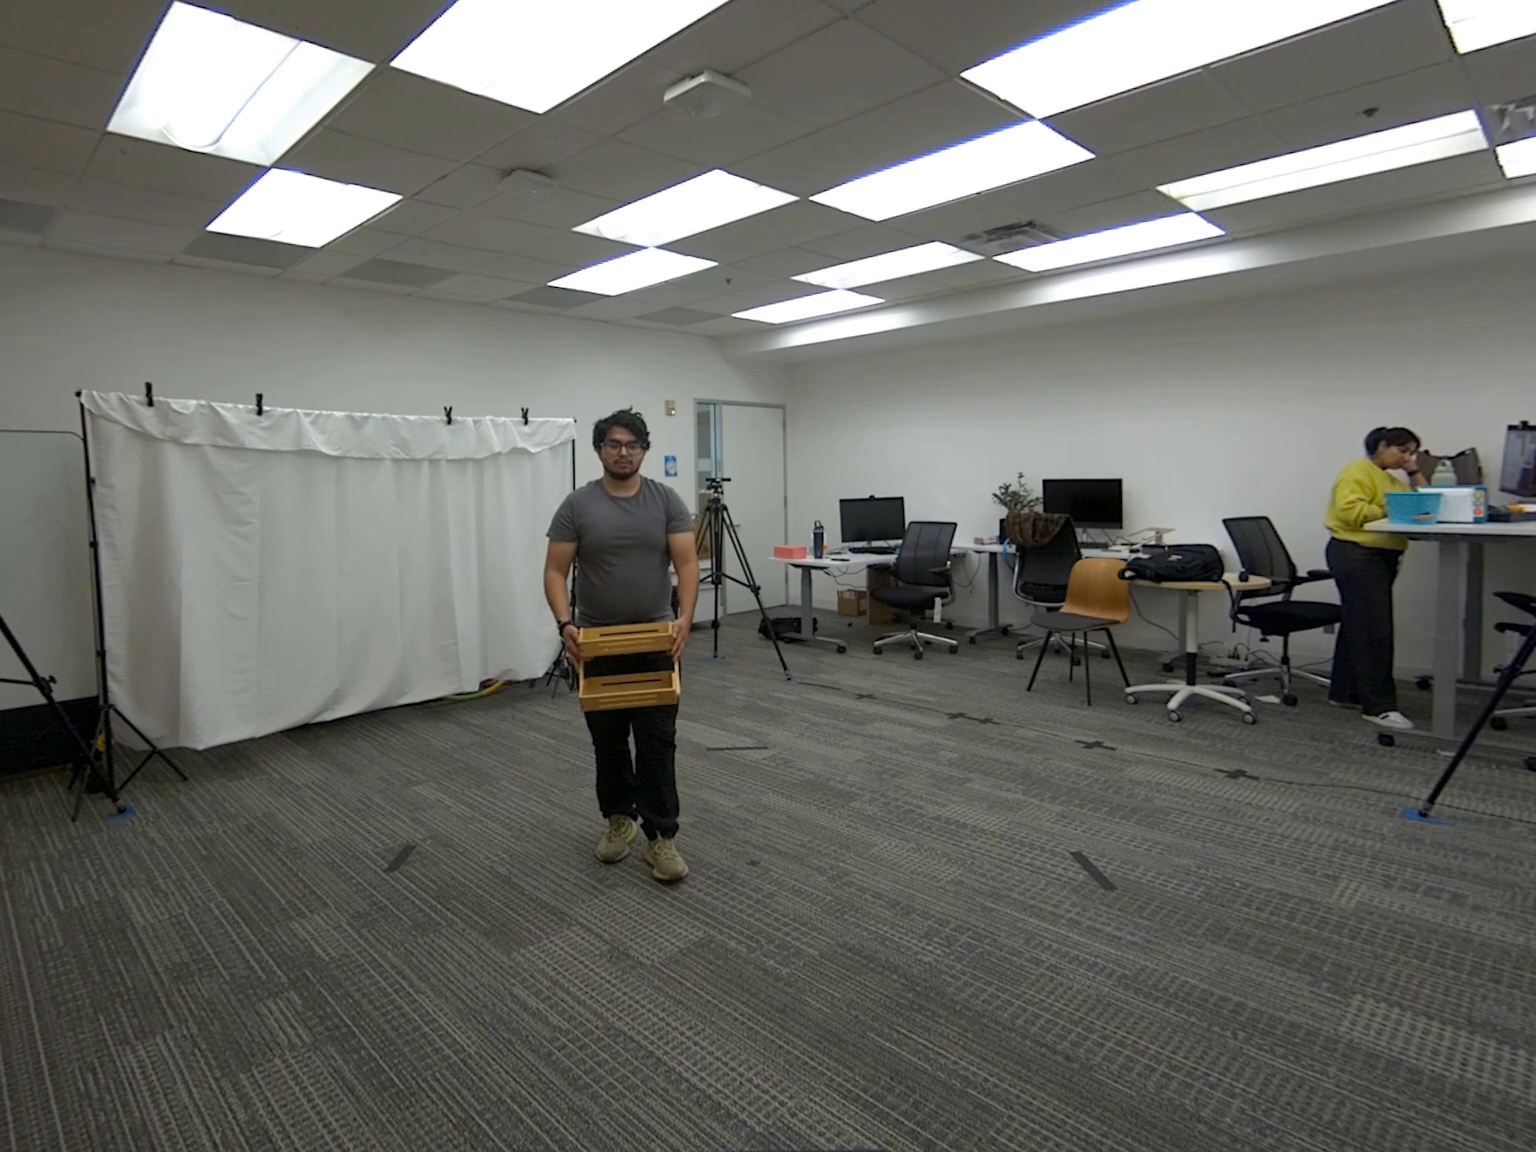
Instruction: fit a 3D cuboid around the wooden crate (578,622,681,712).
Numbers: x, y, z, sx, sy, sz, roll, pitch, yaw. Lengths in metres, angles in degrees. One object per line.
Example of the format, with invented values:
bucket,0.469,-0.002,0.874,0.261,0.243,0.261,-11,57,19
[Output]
wooden crate,-0.458,0.286,2.810,0.323,0.275,0.301,-5,-5,-4
